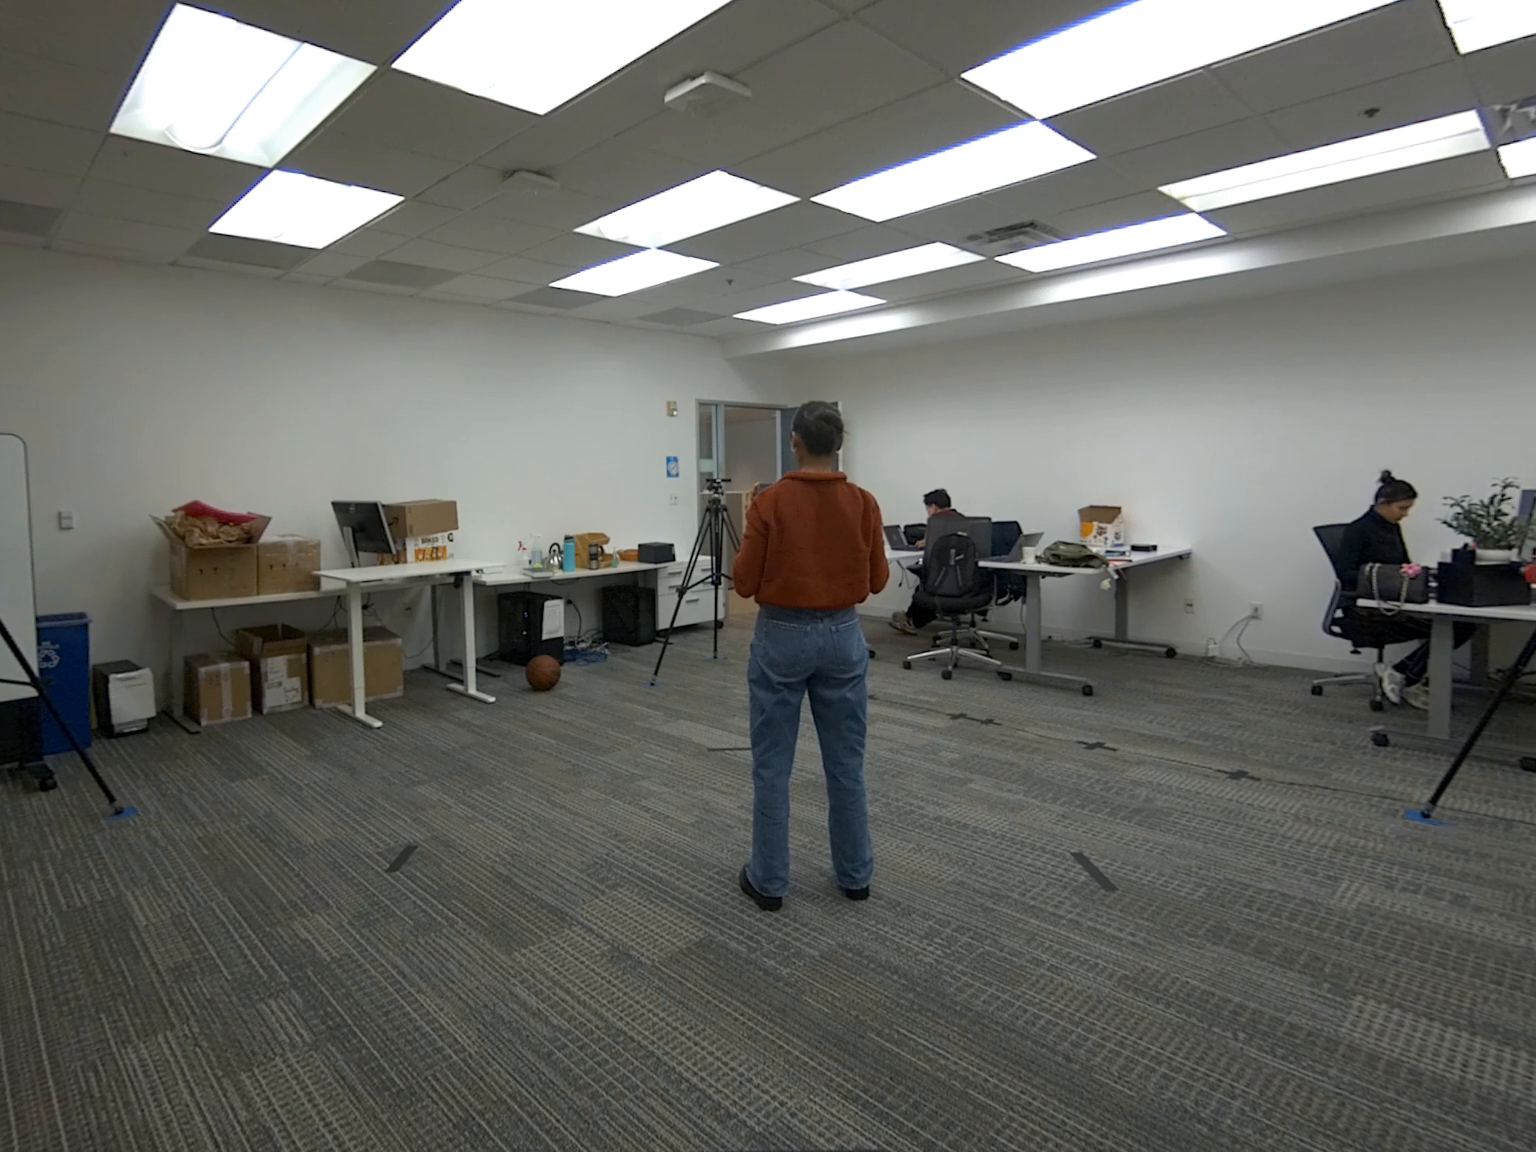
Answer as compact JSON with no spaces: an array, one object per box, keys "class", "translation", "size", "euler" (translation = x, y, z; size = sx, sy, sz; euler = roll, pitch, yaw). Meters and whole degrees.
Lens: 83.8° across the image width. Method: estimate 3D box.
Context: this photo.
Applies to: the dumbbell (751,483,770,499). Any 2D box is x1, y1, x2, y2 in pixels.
[{"class":"dumbbell","translation":[0.111,-0.261,2.921],"size":[0.292,0.120,0.111],"euler":[-1,28,-6]}]
